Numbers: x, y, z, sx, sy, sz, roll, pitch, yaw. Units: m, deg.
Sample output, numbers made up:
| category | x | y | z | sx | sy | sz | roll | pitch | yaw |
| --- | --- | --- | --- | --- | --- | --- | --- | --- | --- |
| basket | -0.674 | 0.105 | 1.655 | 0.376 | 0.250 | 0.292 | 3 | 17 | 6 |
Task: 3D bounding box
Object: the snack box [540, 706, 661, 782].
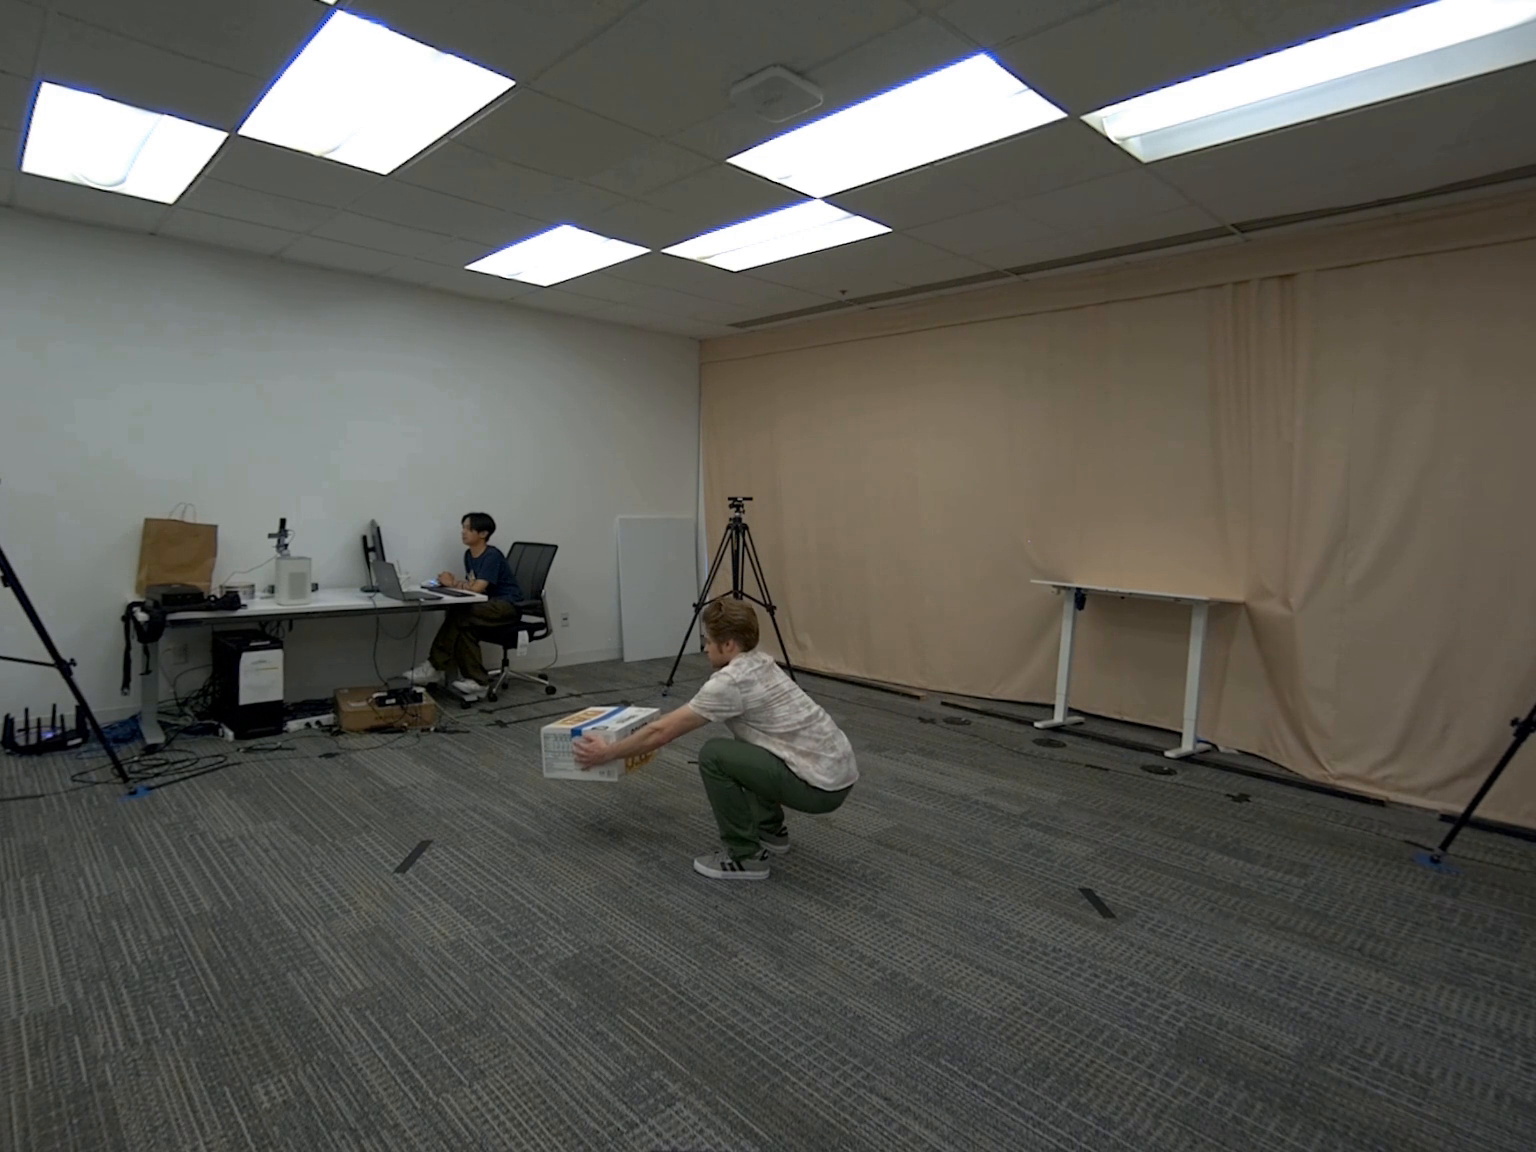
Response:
| category | x | y | z | sx | sy | sz | roll | pitch | yaw |
| --- | --- | --- | --- | --- | --- | --- | --- | --- | --- |
| snack box | -0.681 | 0.681 | 3.488 | 0.345 | 0.205 | 0.400 | -3 | 3 | 19 |
